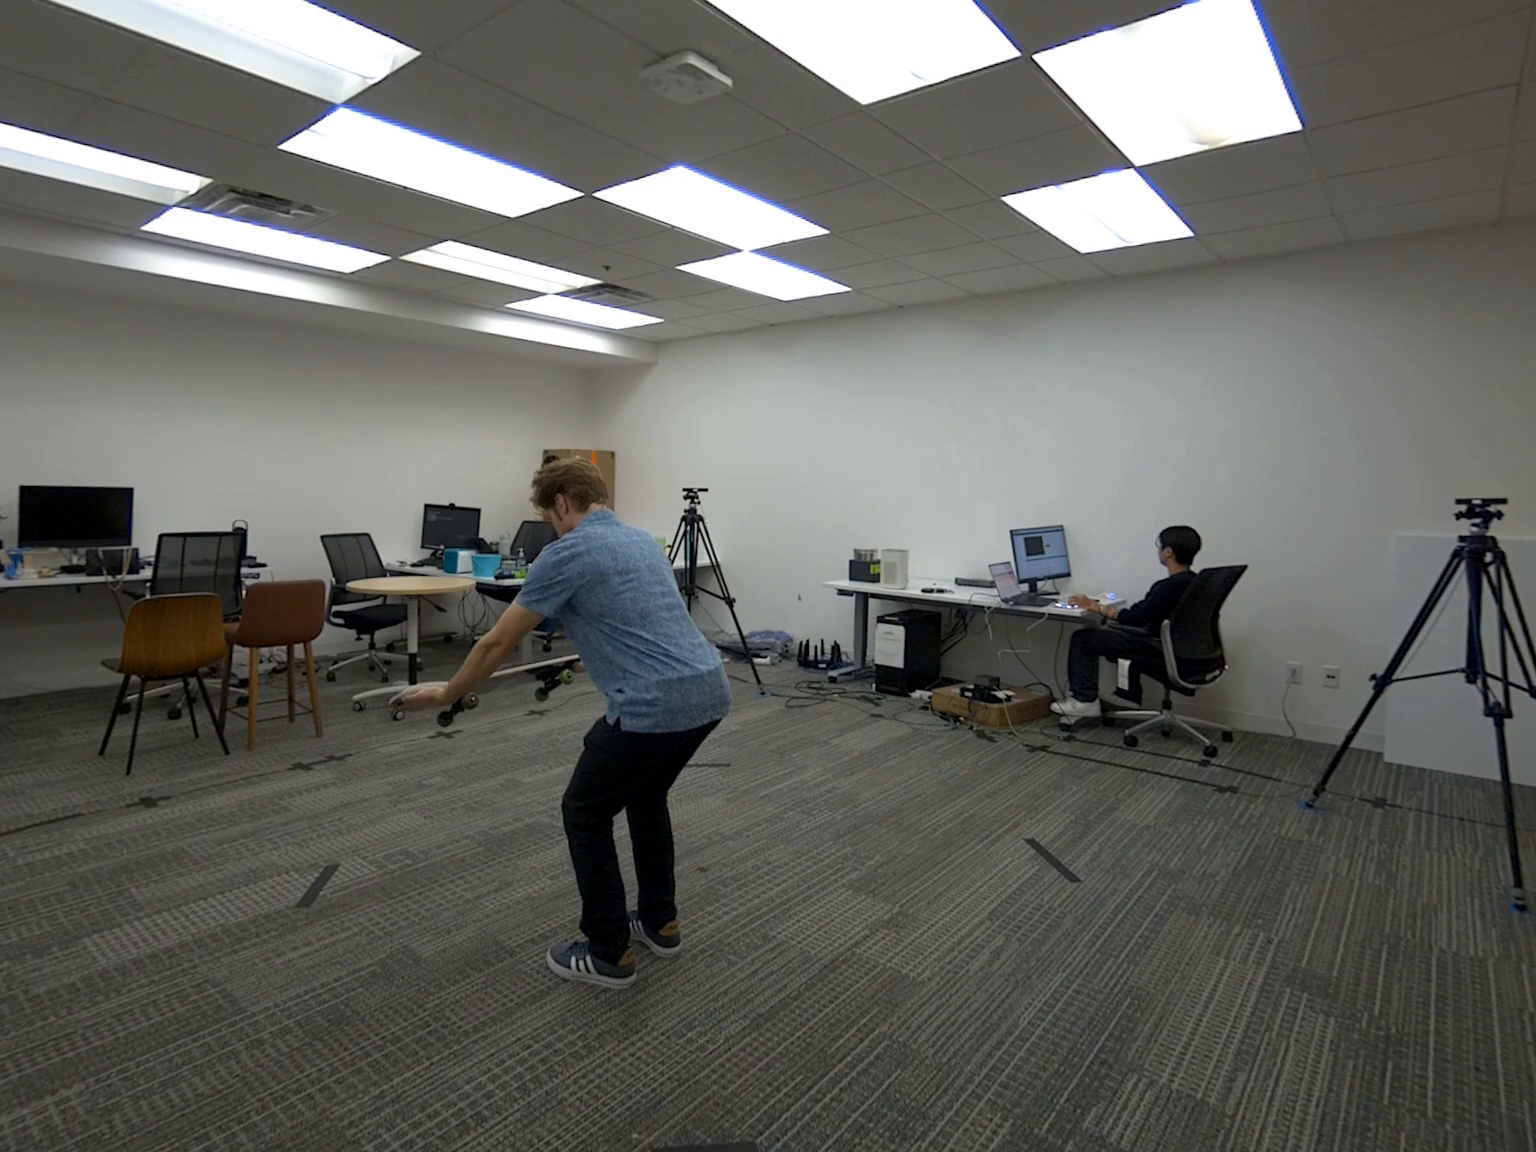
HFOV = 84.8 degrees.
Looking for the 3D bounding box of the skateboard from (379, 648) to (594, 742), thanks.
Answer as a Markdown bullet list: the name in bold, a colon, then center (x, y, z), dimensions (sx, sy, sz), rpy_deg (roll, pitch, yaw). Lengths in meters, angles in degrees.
- **skateboard**: center (-0.880, 0.373, 2.819), dimensions (0.195, 0.112, 0.764), rpy_deg (-35, -15, 33)
